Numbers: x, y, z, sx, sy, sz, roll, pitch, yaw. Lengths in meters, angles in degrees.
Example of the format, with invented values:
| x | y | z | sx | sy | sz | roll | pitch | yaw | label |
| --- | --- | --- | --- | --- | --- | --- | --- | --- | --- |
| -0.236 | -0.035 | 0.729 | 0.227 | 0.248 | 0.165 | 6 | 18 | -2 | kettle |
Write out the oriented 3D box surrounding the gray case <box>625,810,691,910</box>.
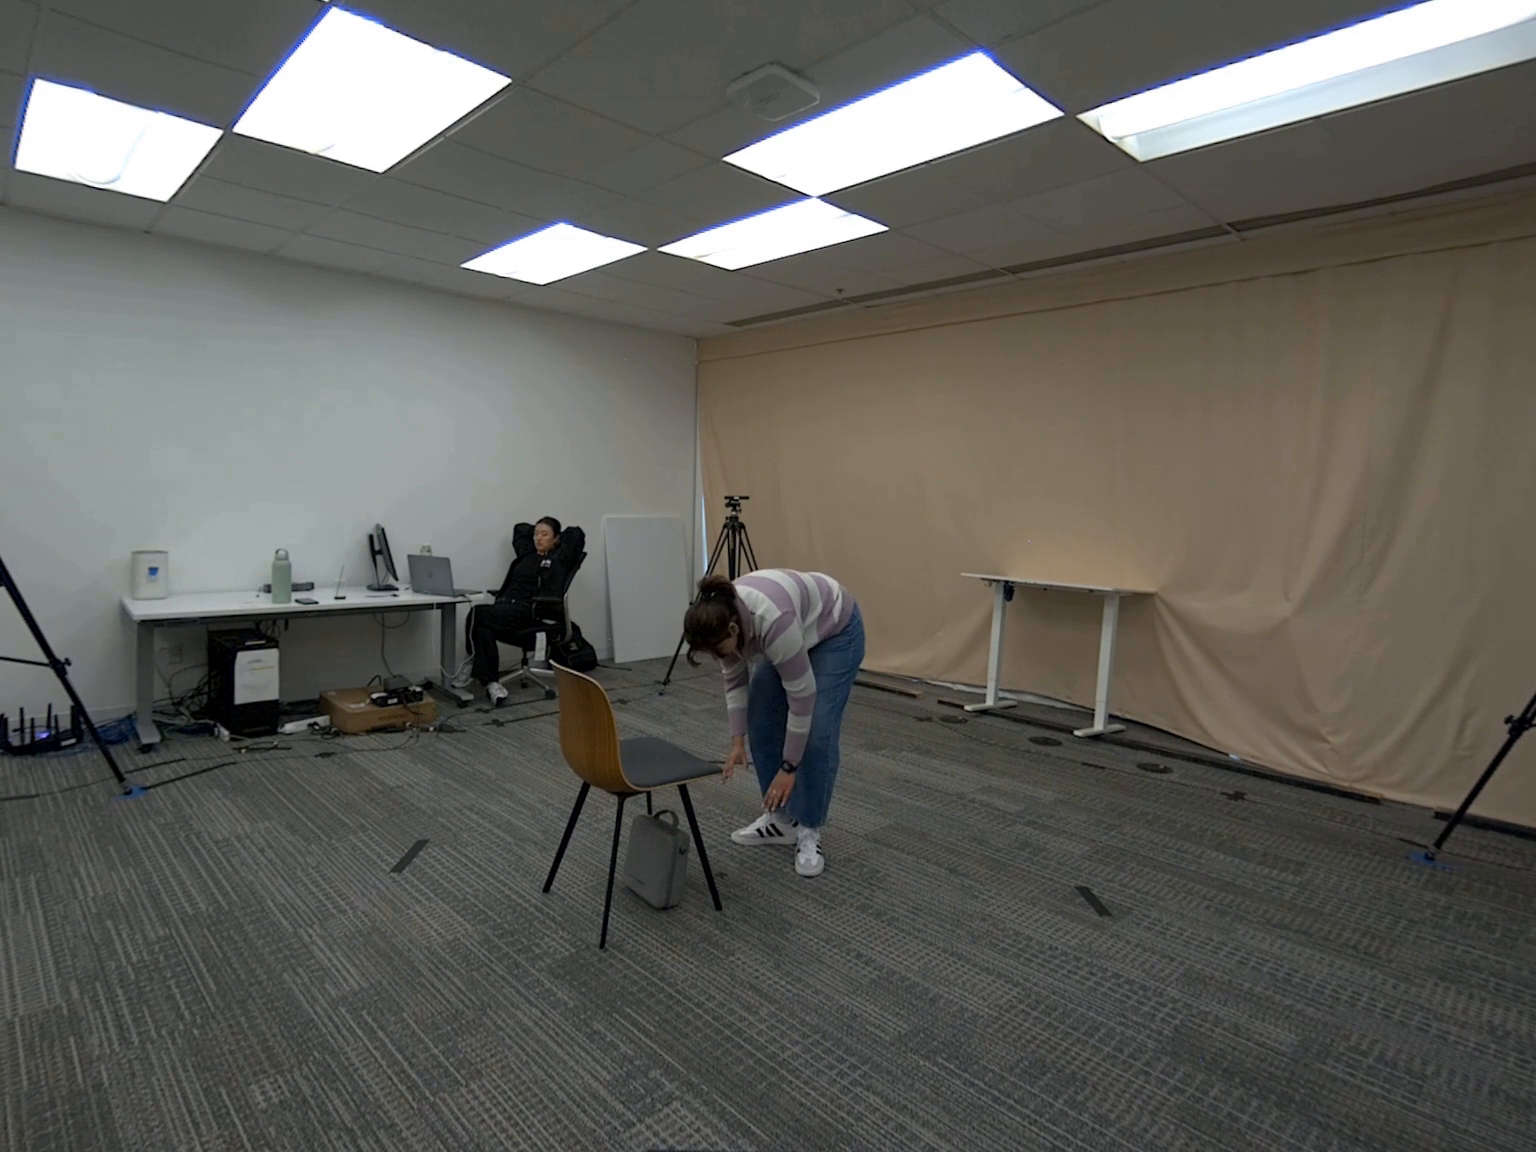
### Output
| x | y | z | sx | sy | sz | roll | pitch | yaw | label |
| --- | --- | --- | --- | --- | --- | --- | --- | --- | --- |
| -0.401 | 0.986 | 2.931 | 0.101 | 0.261 | 0.263 | 12 | -3 | -38 | gray case |
